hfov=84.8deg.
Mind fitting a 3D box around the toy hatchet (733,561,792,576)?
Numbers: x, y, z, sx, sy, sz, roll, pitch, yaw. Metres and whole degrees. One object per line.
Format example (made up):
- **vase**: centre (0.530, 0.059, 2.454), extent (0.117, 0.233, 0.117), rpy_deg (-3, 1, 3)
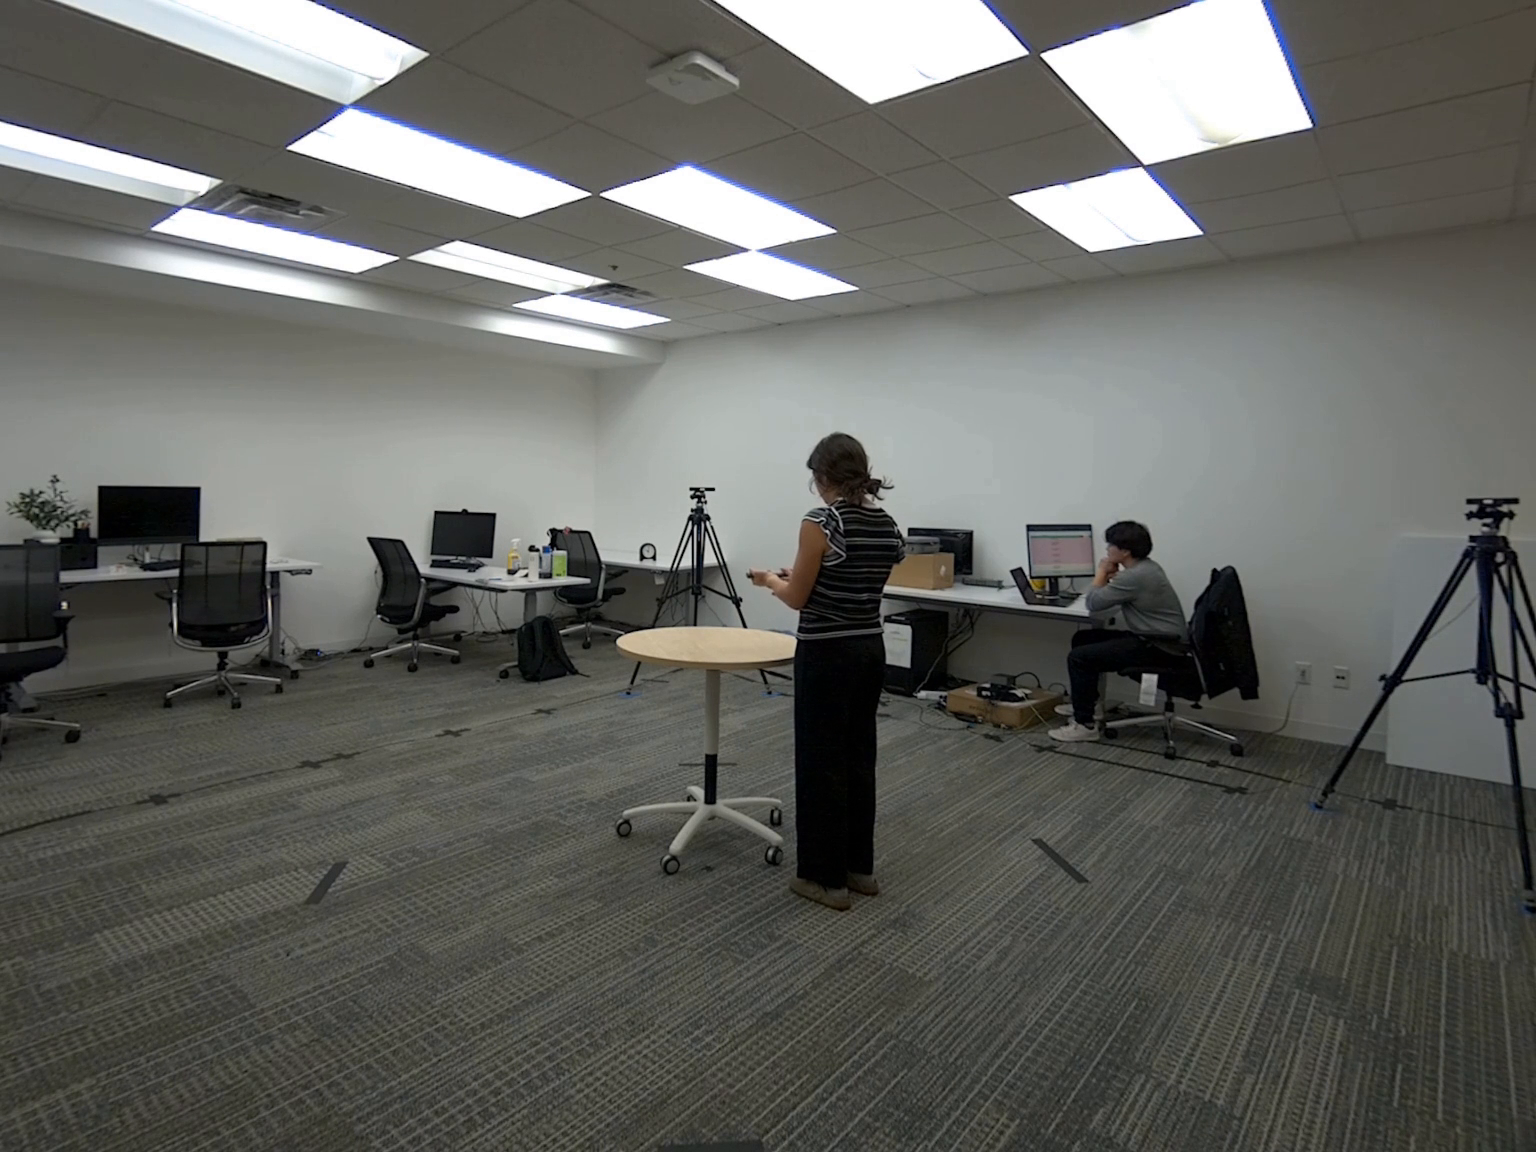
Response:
- **toy hatchet**: centre (0.017, -0.021, 3.181), extent (0.264, 0.029, 0.135), rpy_deg (4, 9, -22)
